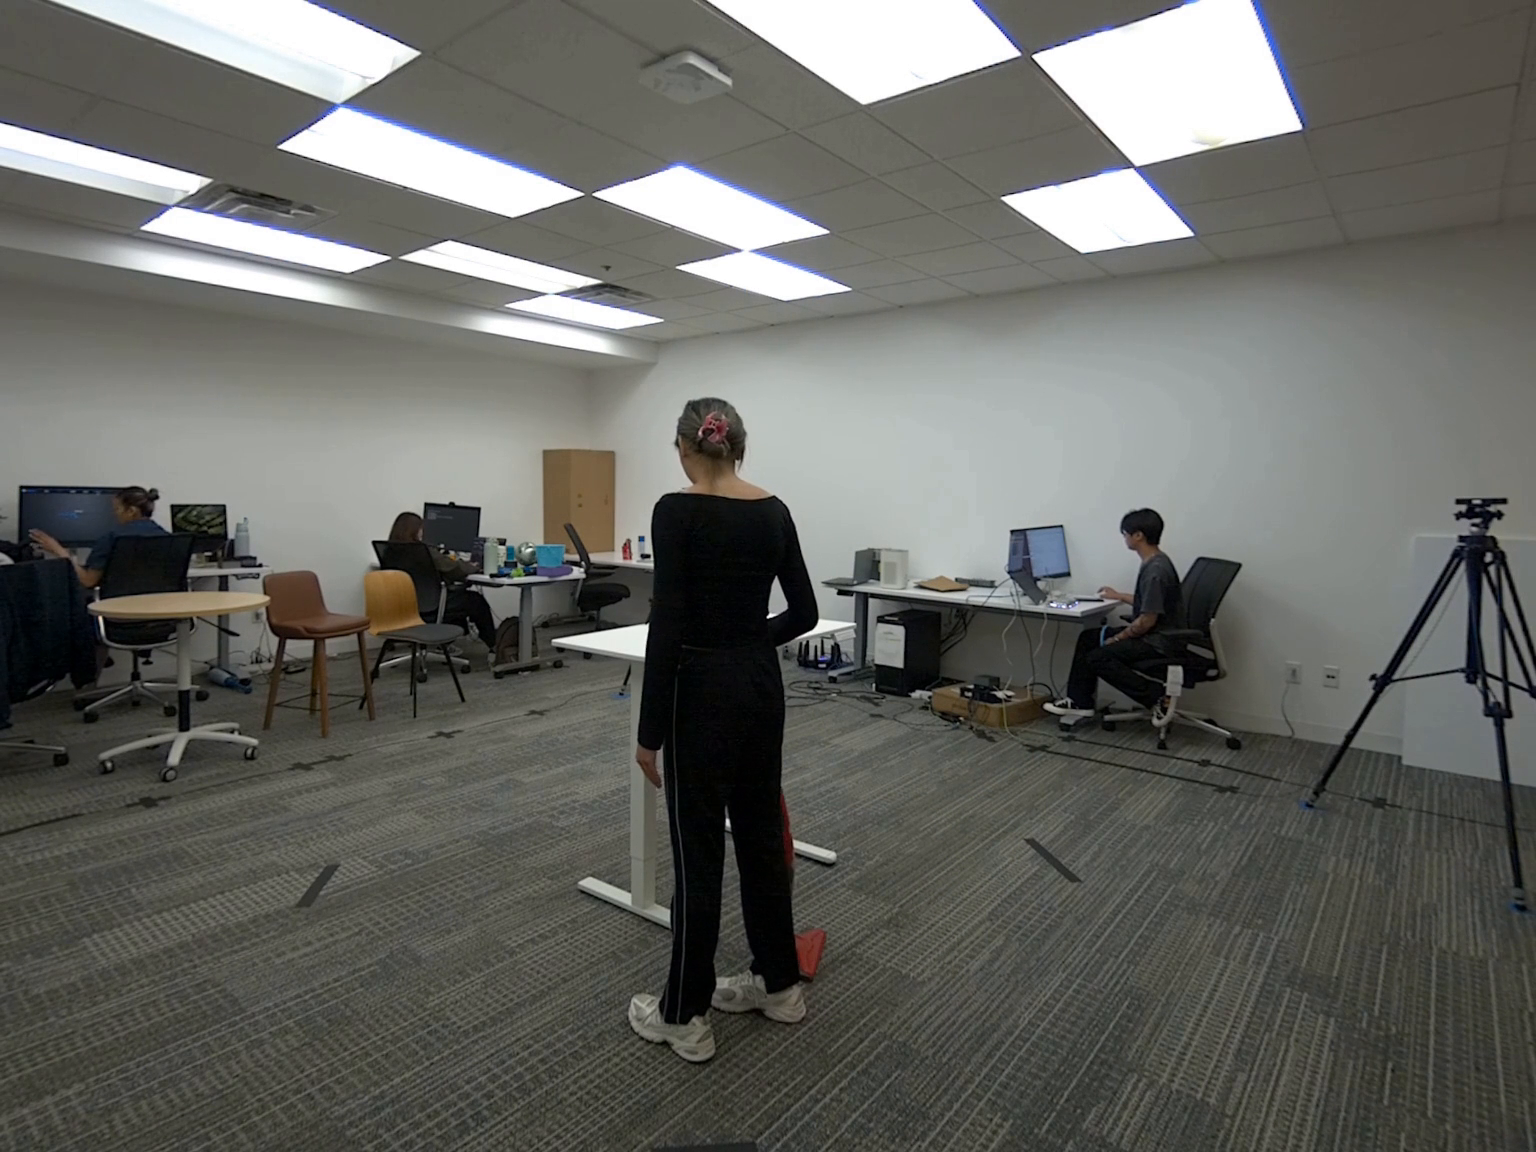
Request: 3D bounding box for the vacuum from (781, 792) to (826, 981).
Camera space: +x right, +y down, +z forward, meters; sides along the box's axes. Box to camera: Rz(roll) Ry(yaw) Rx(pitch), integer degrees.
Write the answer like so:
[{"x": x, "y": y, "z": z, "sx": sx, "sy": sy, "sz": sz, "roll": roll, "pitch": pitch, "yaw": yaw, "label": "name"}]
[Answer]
[{"x": -0.023, "y": 0.617, "z": 2.515, "sx": 0.147, "sy": 1.046, "sz": 0.247, "roll": -10, "pitch": 3, "yaw": 29, "label": "vacuum"}]
